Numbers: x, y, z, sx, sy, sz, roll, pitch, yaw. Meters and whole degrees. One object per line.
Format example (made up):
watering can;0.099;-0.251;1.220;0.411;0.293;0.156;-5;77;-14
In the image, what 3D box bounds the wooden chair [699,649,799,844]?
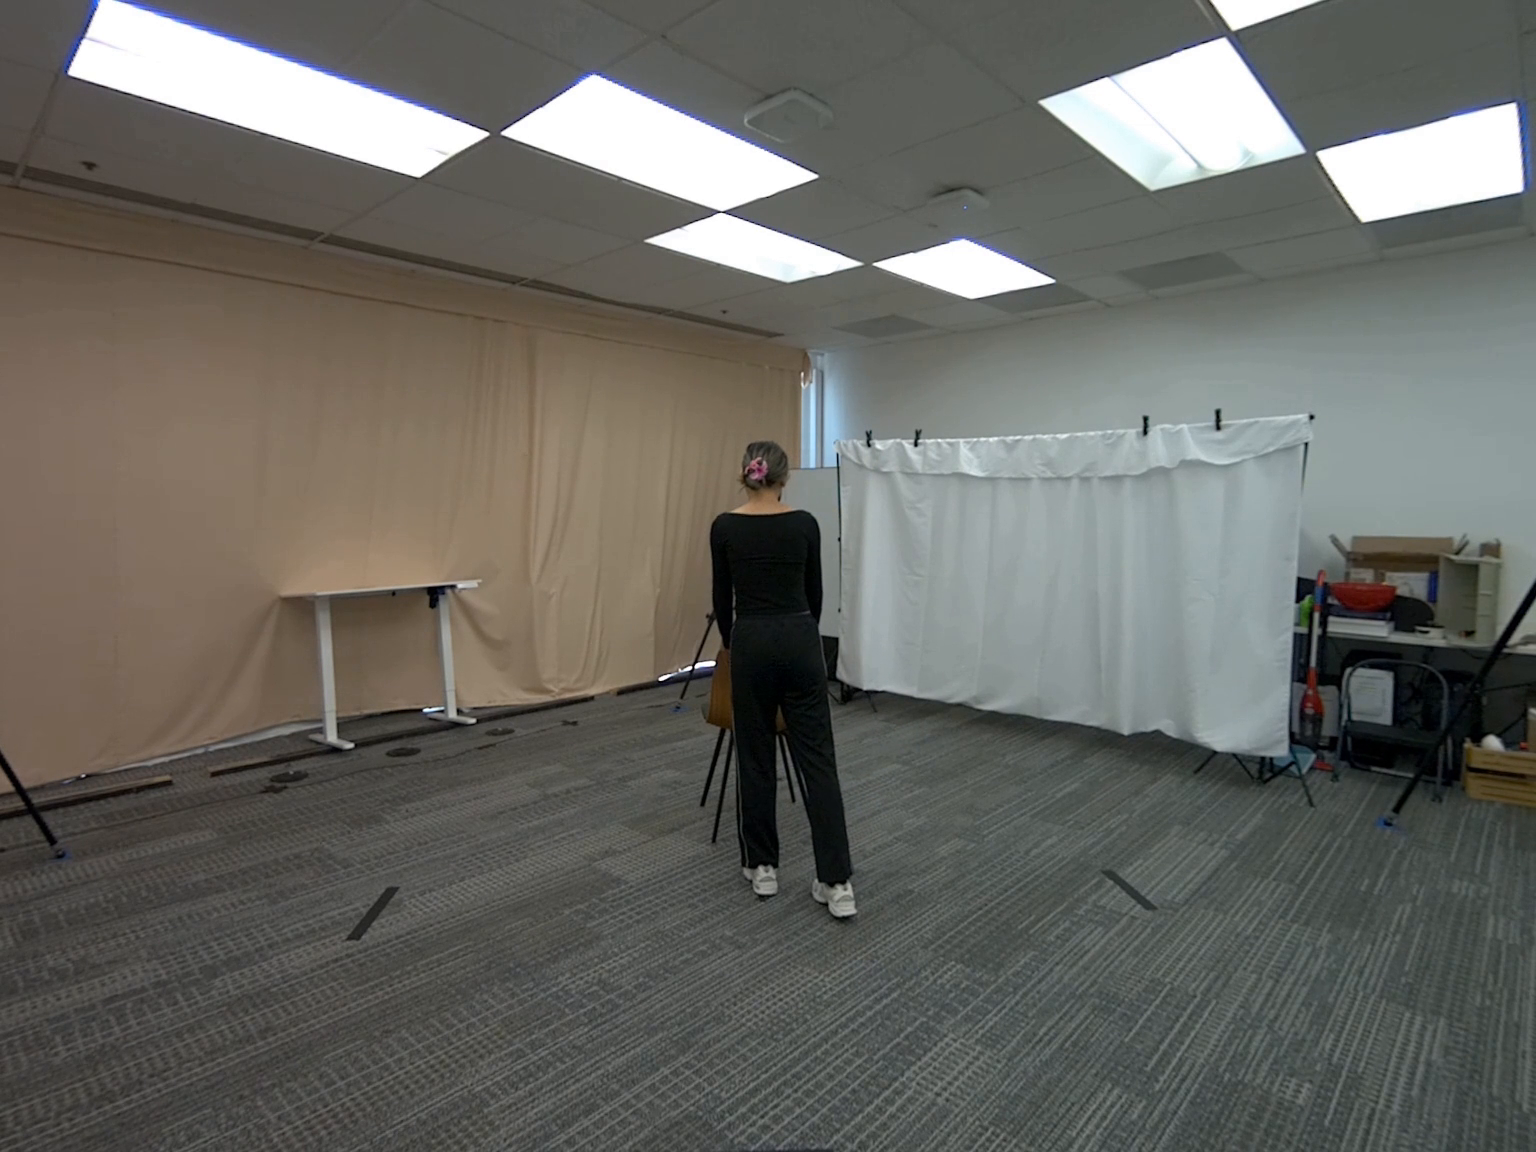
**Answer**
wooden chair;-0.057;0.654;3.702;0.474;0.873;0.530;-1;7;-9
